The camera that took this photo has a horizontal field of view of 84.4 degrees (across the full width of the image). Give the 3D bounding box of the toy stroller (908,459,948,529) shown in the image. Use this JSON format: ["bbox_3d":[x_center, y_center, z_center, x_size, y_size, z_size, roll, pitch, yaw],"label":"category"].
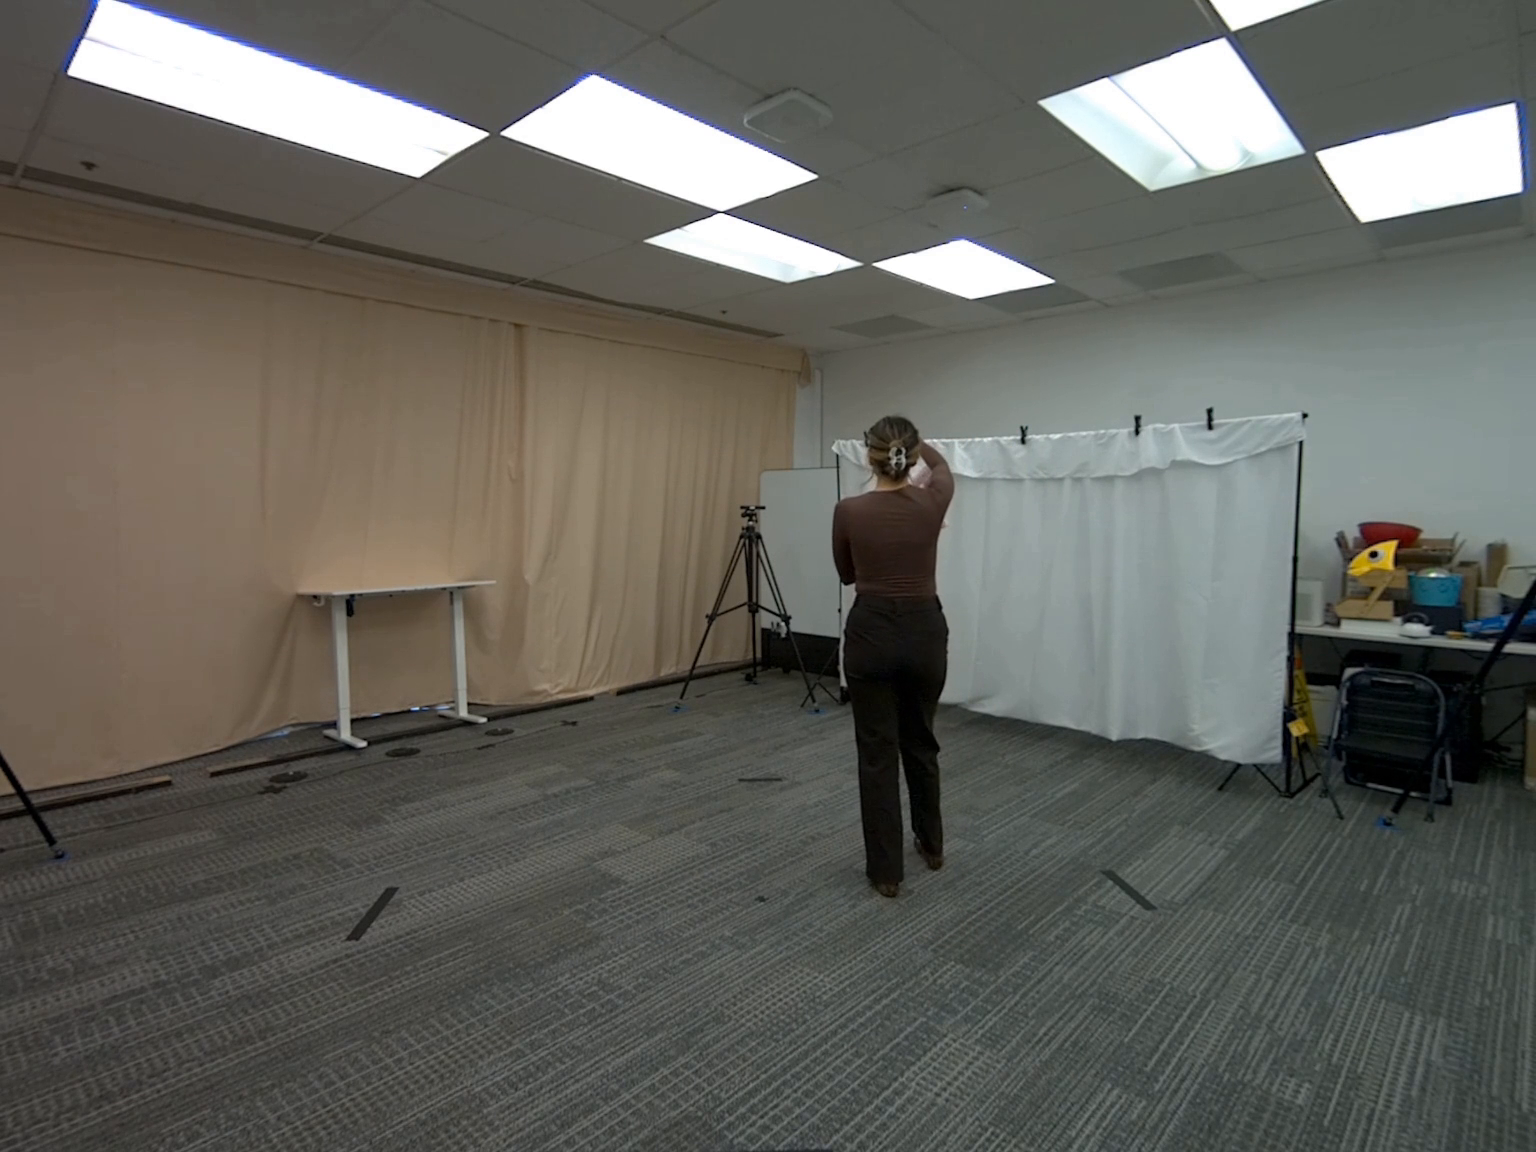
[{"bbox_3d":[0.604,-0.271,3.525,0.354,0.532,0.273,30,21,36],"label":"toy stroller"}]
